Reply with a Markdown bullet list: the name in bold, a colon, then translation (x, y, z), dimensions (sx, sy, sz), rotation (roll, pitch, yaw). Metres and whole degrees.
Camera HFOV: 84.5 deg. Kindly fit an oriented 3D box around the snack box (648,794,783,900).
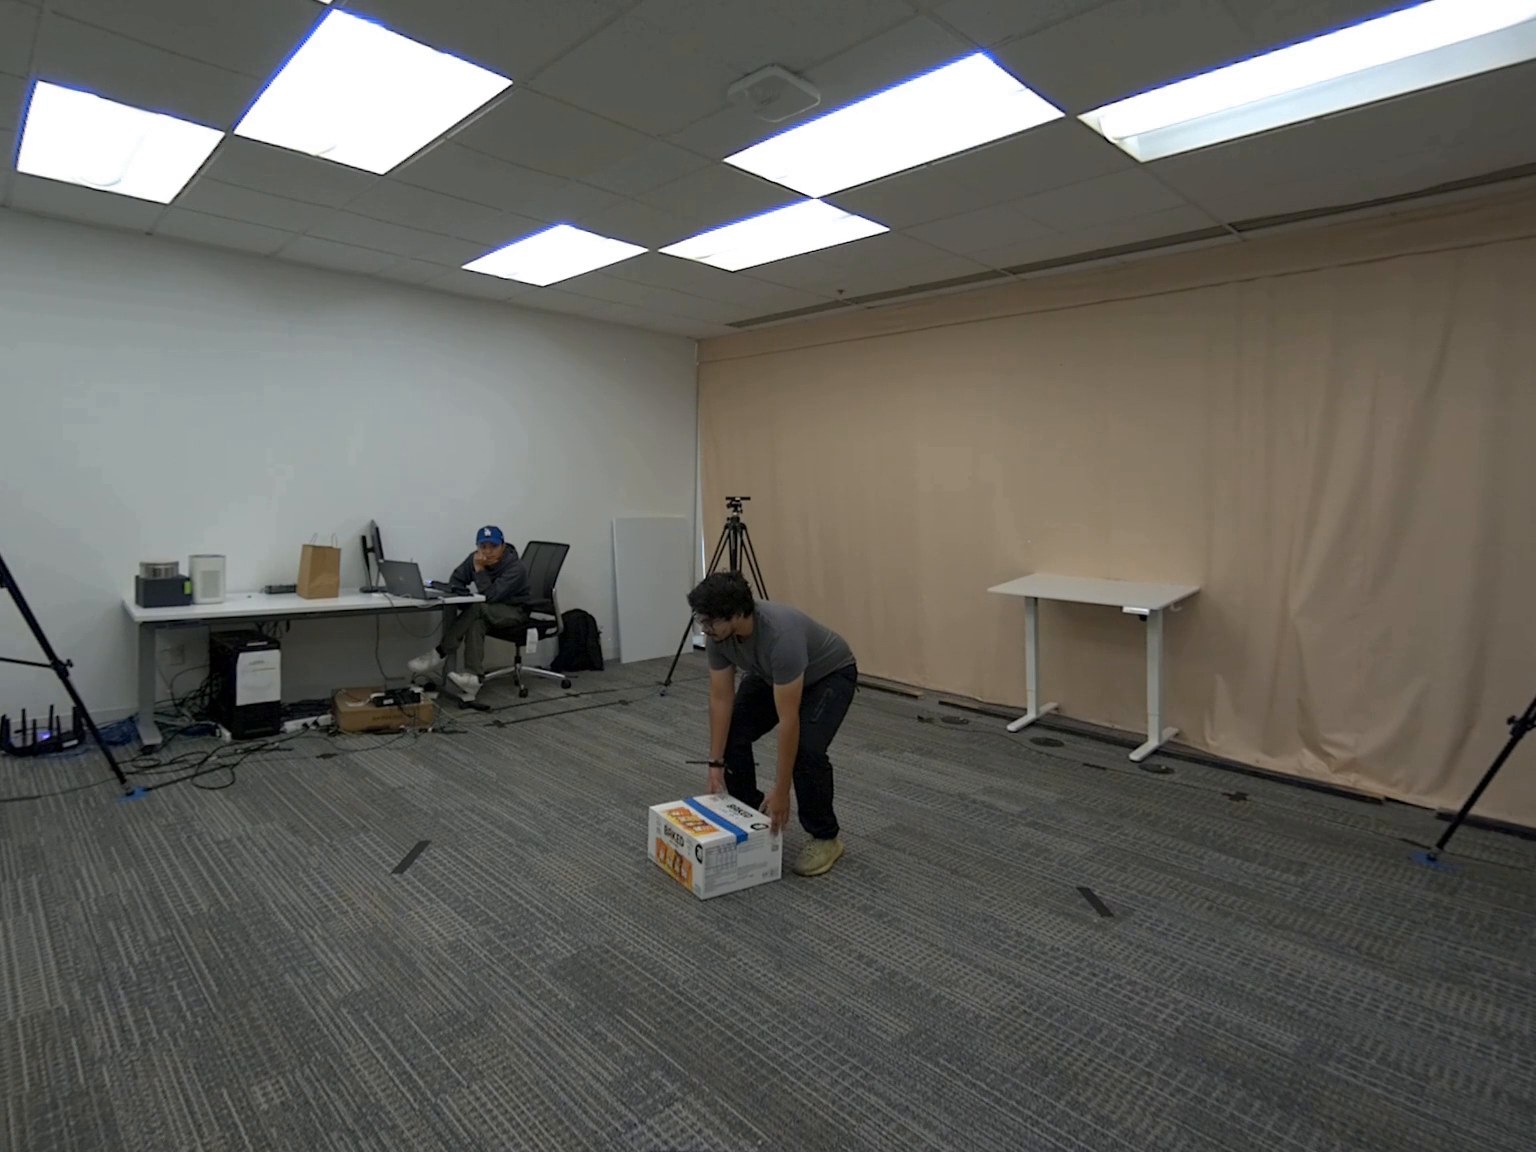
- **snack box**: translation (-0.207, 0.997, 3.149), dimensions (0.333, 0.205, 0.415), rotation (-3, 6, -34)
